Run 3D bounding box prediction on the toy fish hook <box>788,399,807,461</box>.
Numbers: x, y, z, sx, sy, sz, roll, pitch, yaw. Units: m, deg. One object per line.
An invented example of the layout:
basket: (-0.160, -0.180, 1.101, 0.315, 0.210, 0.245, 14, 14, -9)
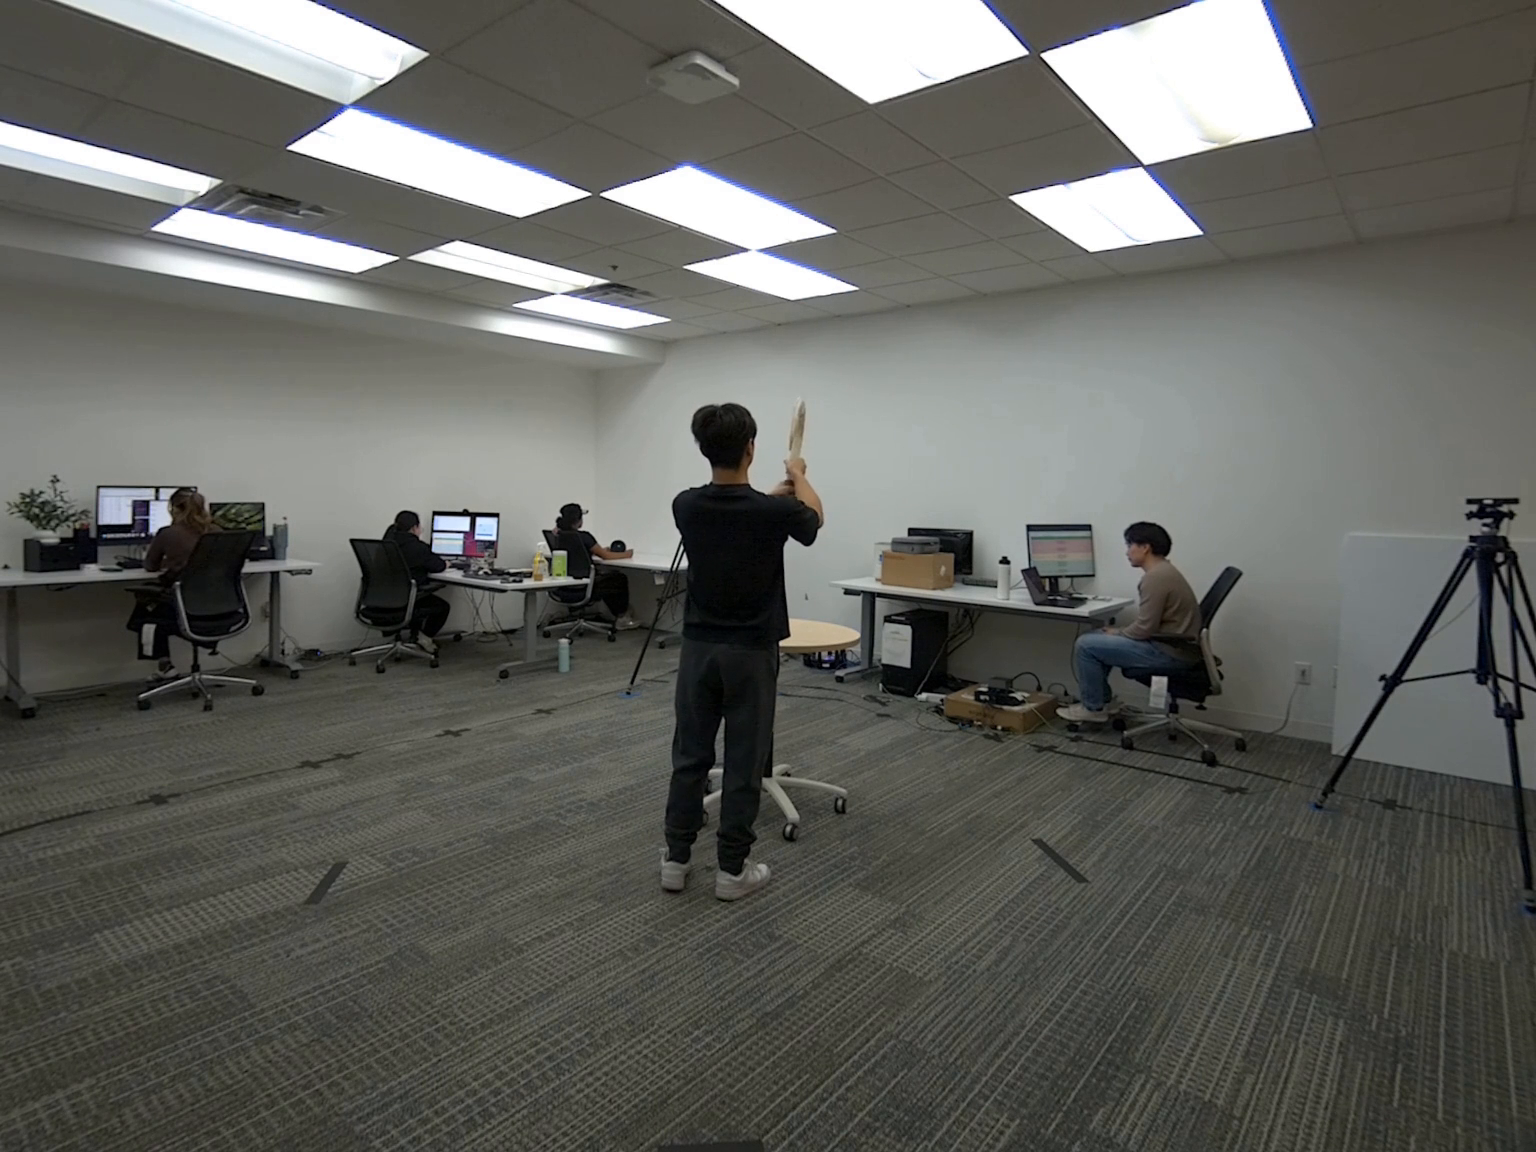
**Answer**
toy fish hook: (0.076, -0.424, 3.219, 0.049, 0.505, 0.222, 6, 4, 11)
